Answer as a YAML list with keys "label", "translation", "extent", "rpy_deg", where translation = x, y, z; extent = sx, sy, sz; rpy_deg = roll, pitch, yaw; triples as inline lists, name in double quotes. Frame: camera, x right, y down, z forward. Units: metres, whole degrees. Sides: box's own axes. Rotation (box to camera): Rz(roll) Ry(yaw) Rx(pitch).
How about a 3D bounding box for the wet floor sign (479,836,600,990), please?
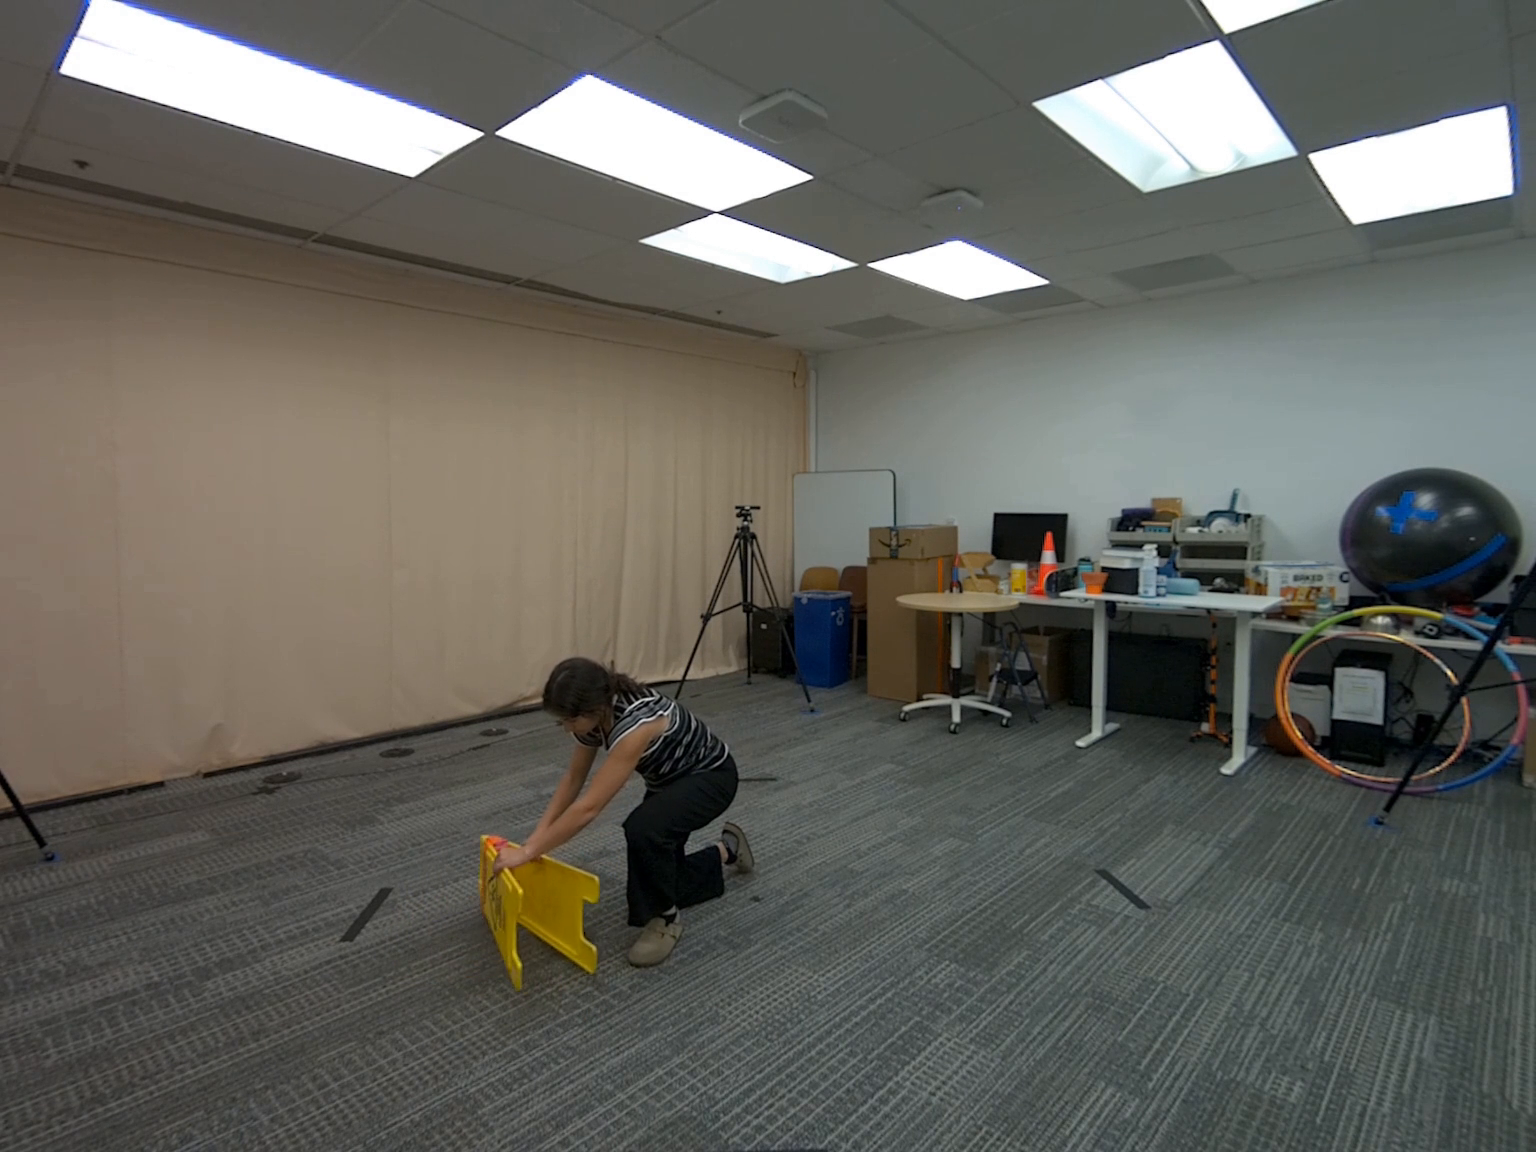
- label: "wet floor sign"
  translation: [-0.790, 1.011, 2.652]
  extent: [0.281, 0.282, 0.666]
  rpy_deg: [3, -1, -37]
